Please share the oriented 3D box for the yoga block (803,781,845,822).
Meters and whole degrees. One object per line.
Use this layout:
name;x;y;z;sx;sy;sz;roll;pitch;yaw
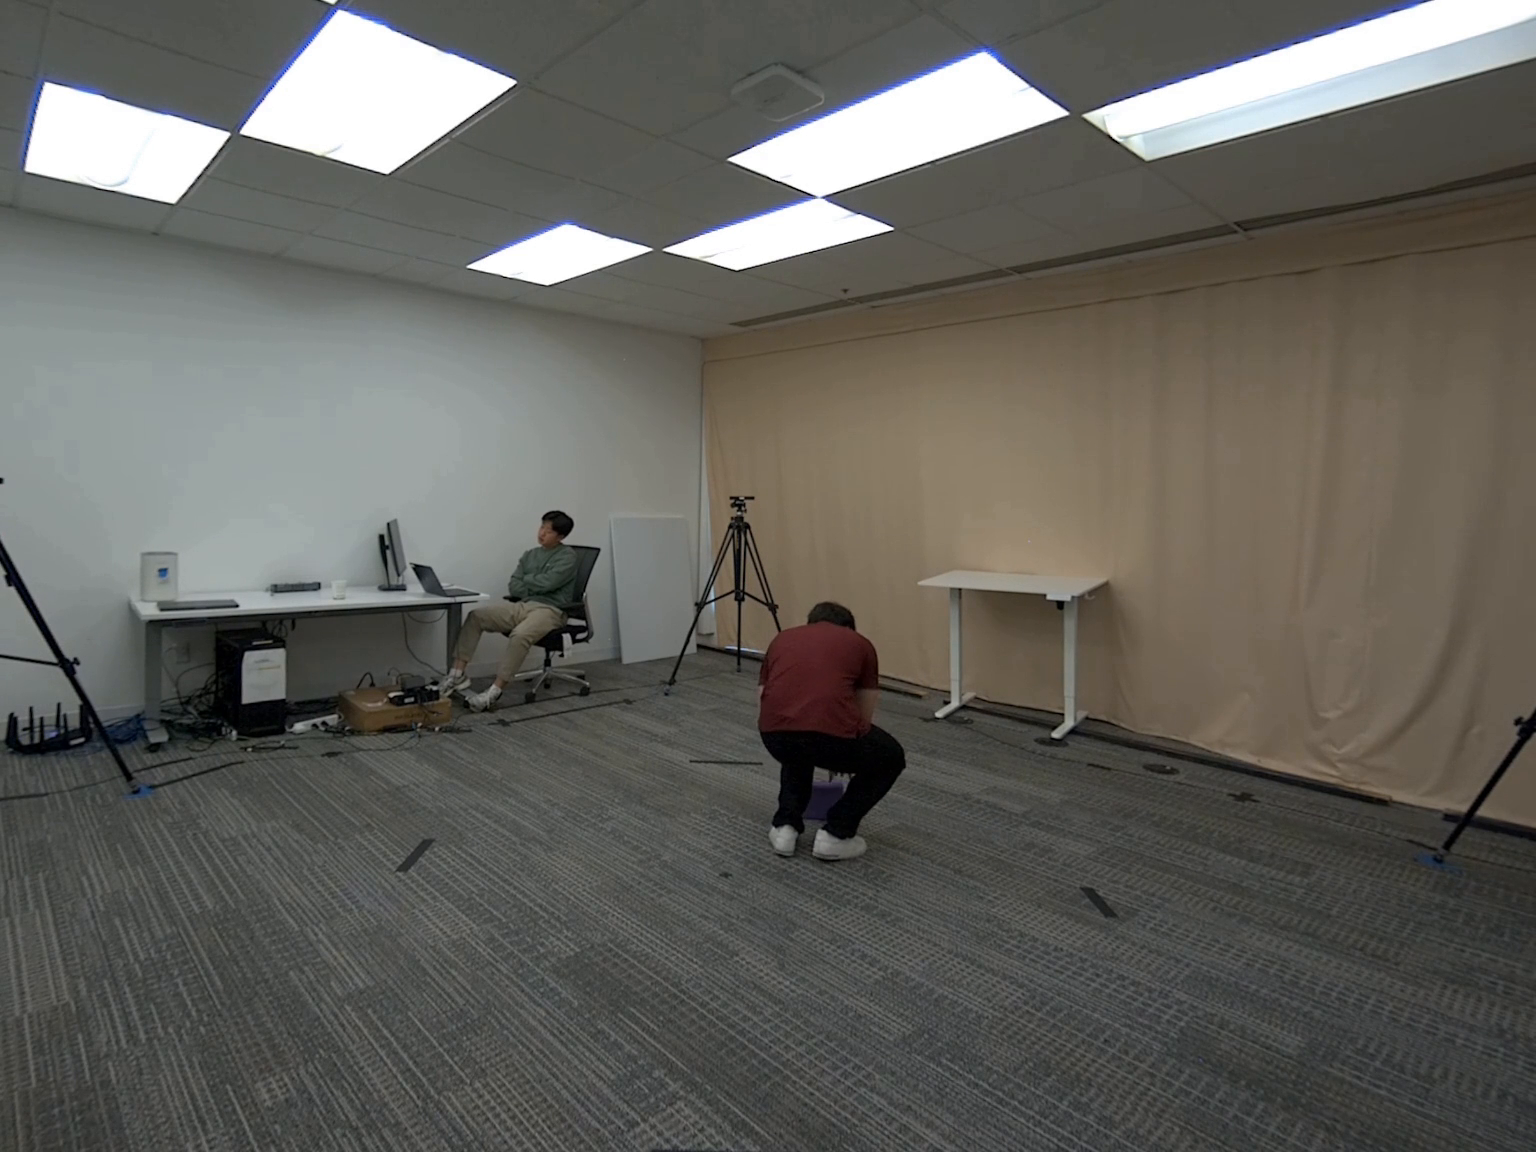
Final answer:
yoga block;0.212;0.980;3.698;0.229;0.149;0.076;2;2;0
